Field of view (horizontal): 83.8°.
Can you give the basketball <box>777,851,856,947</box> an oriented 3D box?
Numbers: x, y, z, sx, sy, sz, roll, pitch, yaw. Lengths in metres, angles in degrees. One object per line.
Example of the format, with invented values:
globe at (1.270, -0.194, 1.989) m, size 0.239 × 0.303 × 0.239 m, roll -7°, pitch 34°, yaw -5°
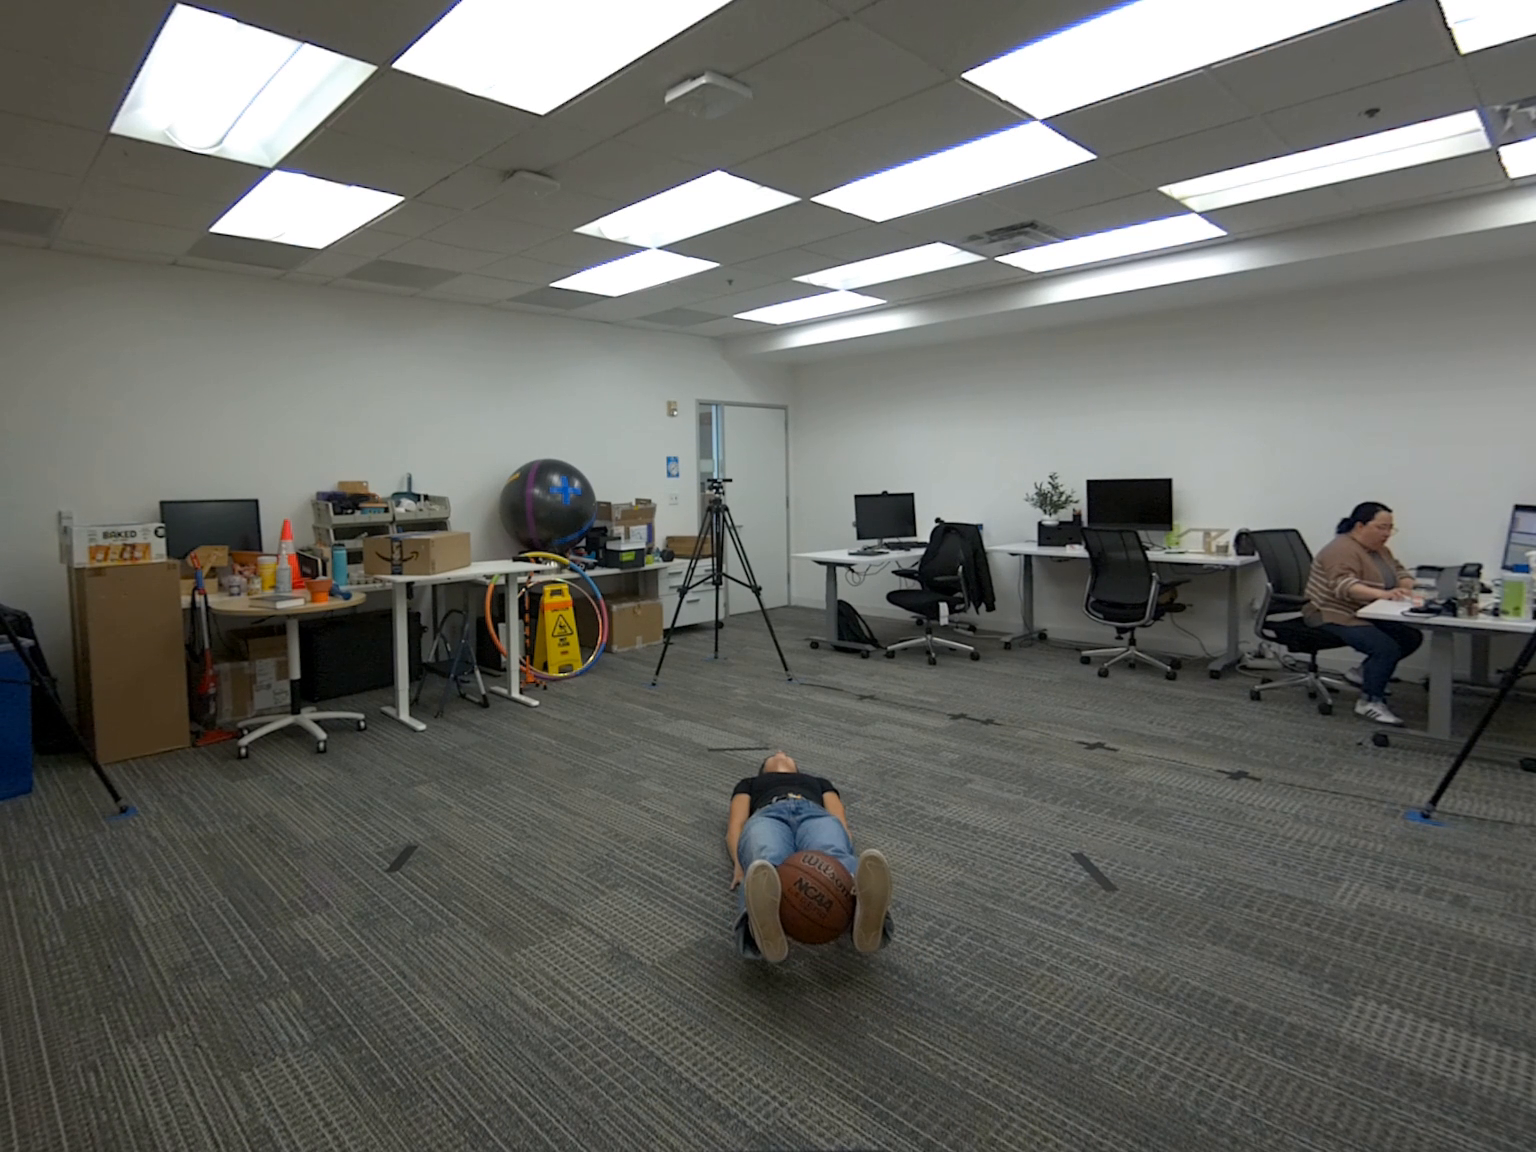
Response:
basketball at (0.131, 0.872, 2.328) m, size 0.236 × 0.235 × 0.237 m, roll -1°, pitch 5°, yaw -2°
